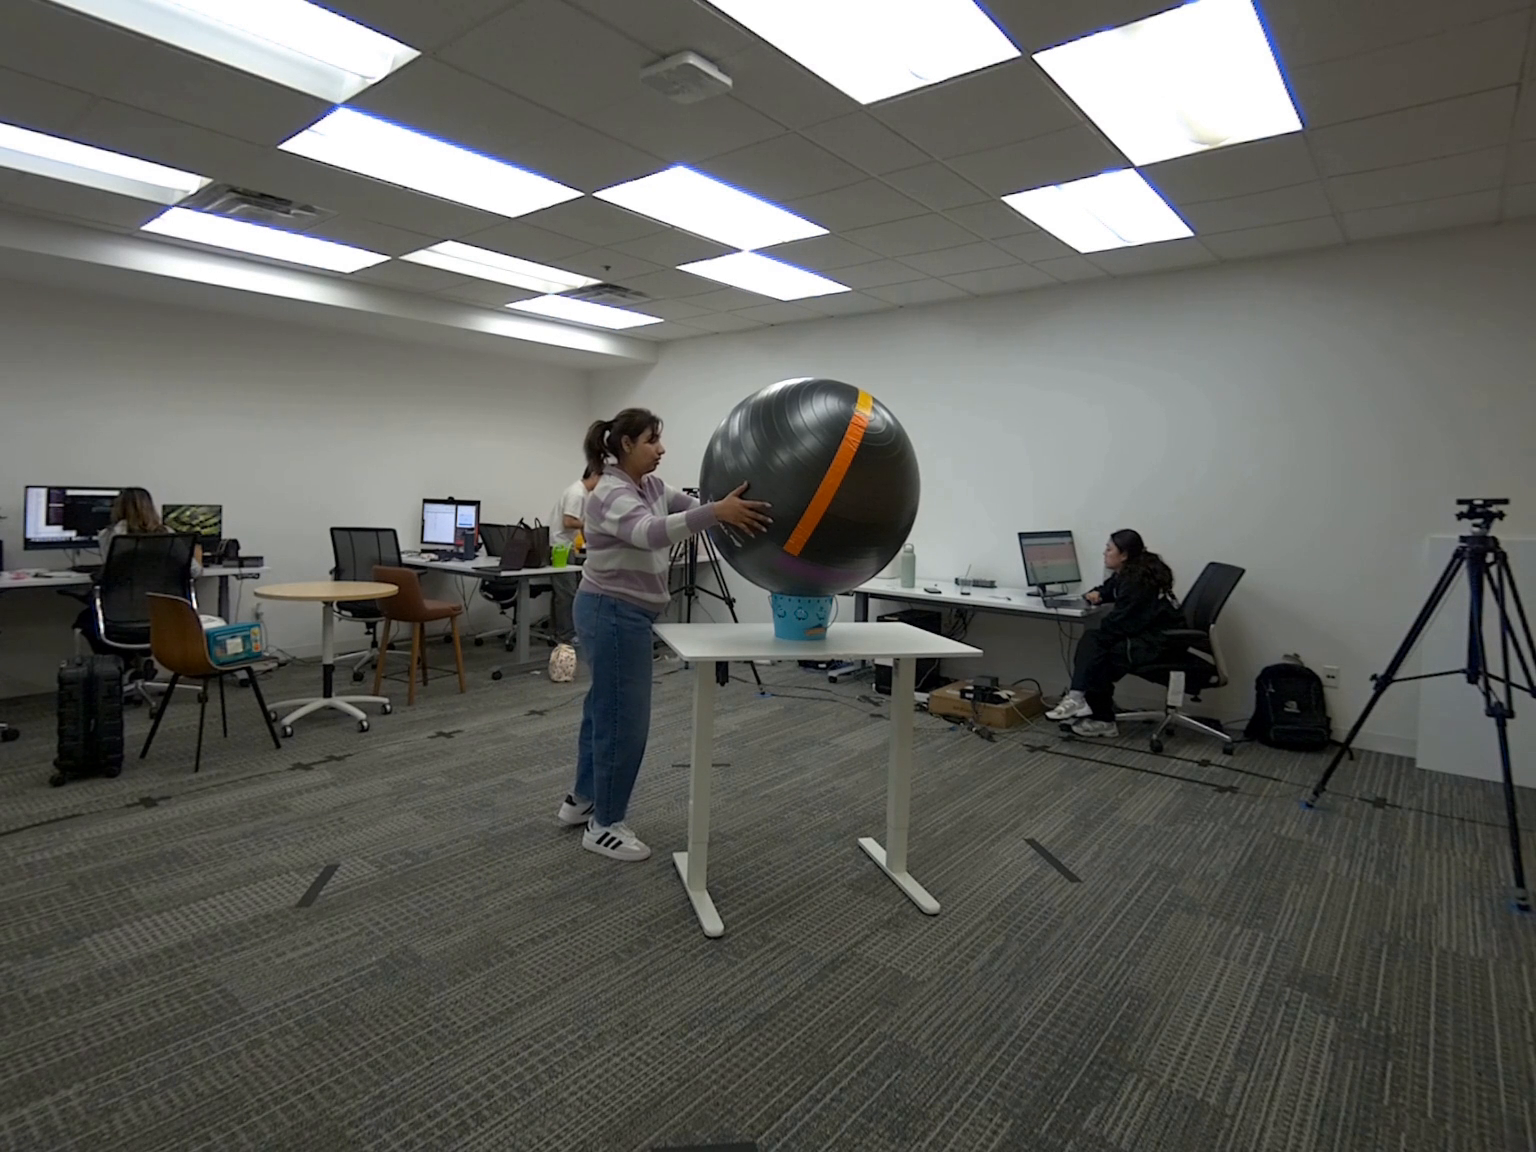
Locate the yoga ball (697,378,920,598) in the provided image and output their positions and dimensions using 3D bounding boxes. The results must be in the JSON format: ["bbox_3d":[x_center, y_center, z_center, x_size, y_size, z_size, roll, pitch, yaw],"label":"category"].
[{"bbox_3d":[0.141,-0.304,2.933,0.757,0.755,0.762,1,4,-2],"label":"yoga ball"}]
